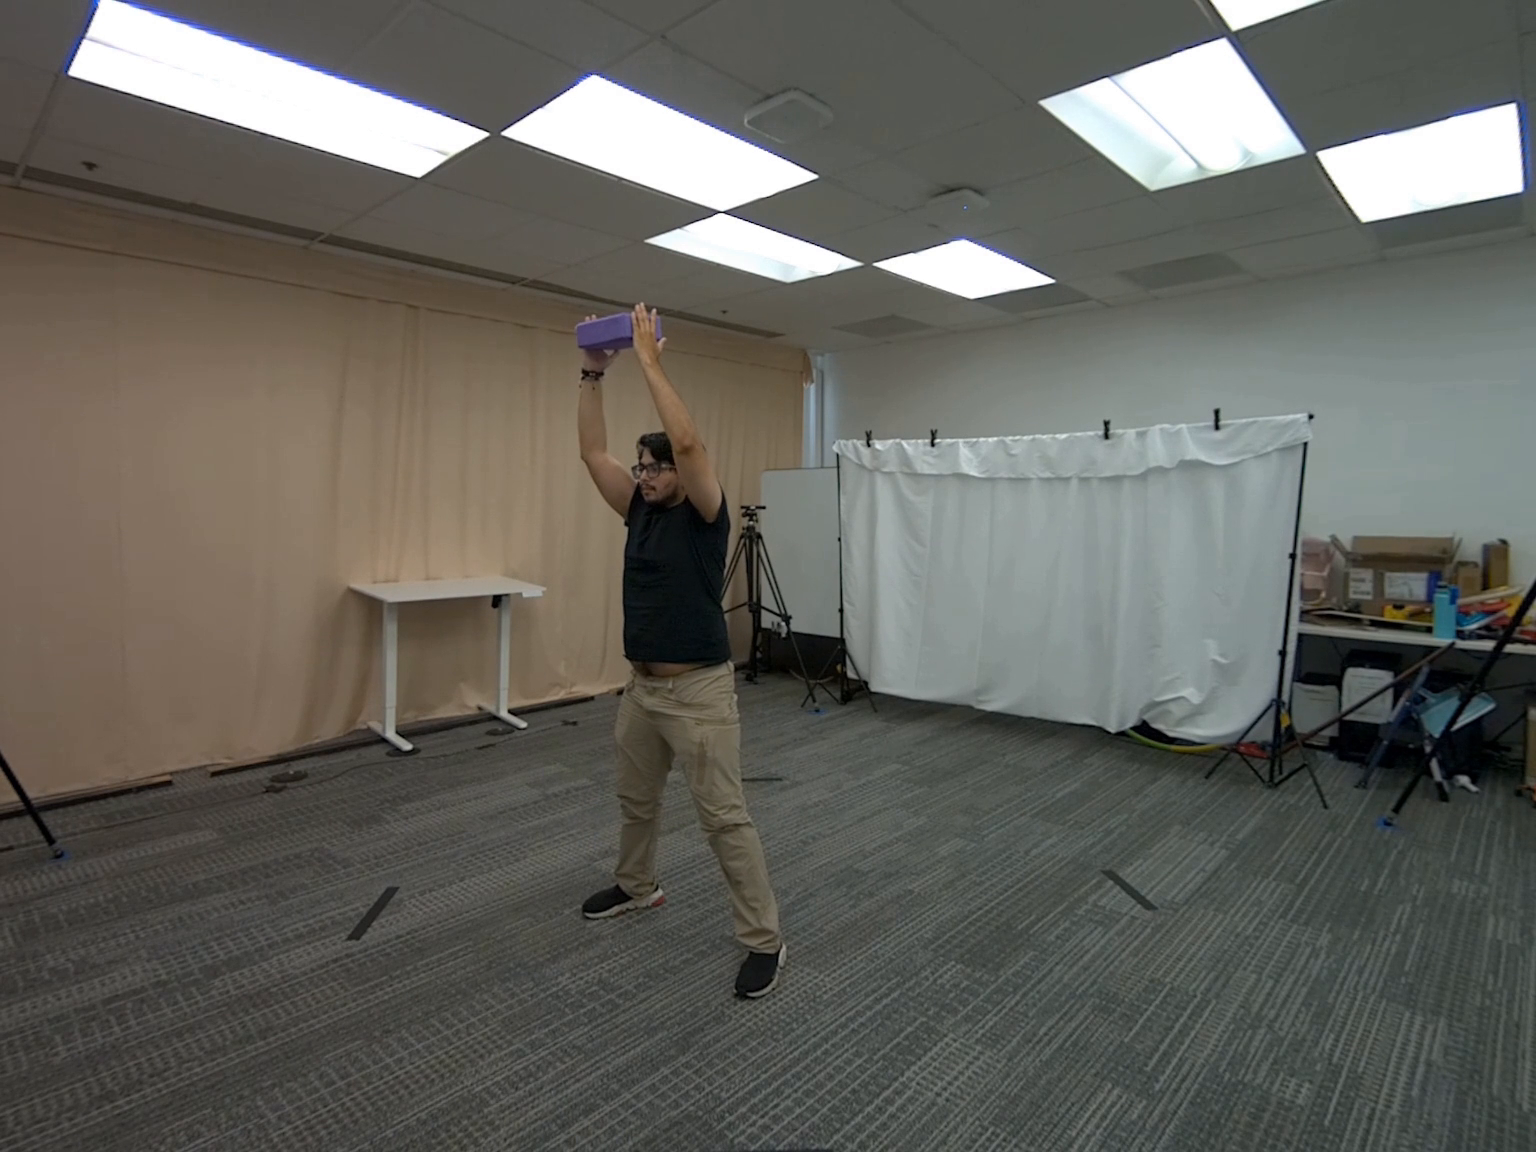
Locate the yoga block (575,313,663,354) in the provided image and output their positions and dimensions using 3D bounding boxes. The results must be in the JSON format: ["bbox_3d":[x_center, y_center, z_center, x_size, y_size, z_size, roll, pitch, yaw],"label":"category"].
[{"bbox_3d":[-0.438,-0.728,2.499,0.237,0.076,0.145,5,14,41],"label":"yoga block"}]
